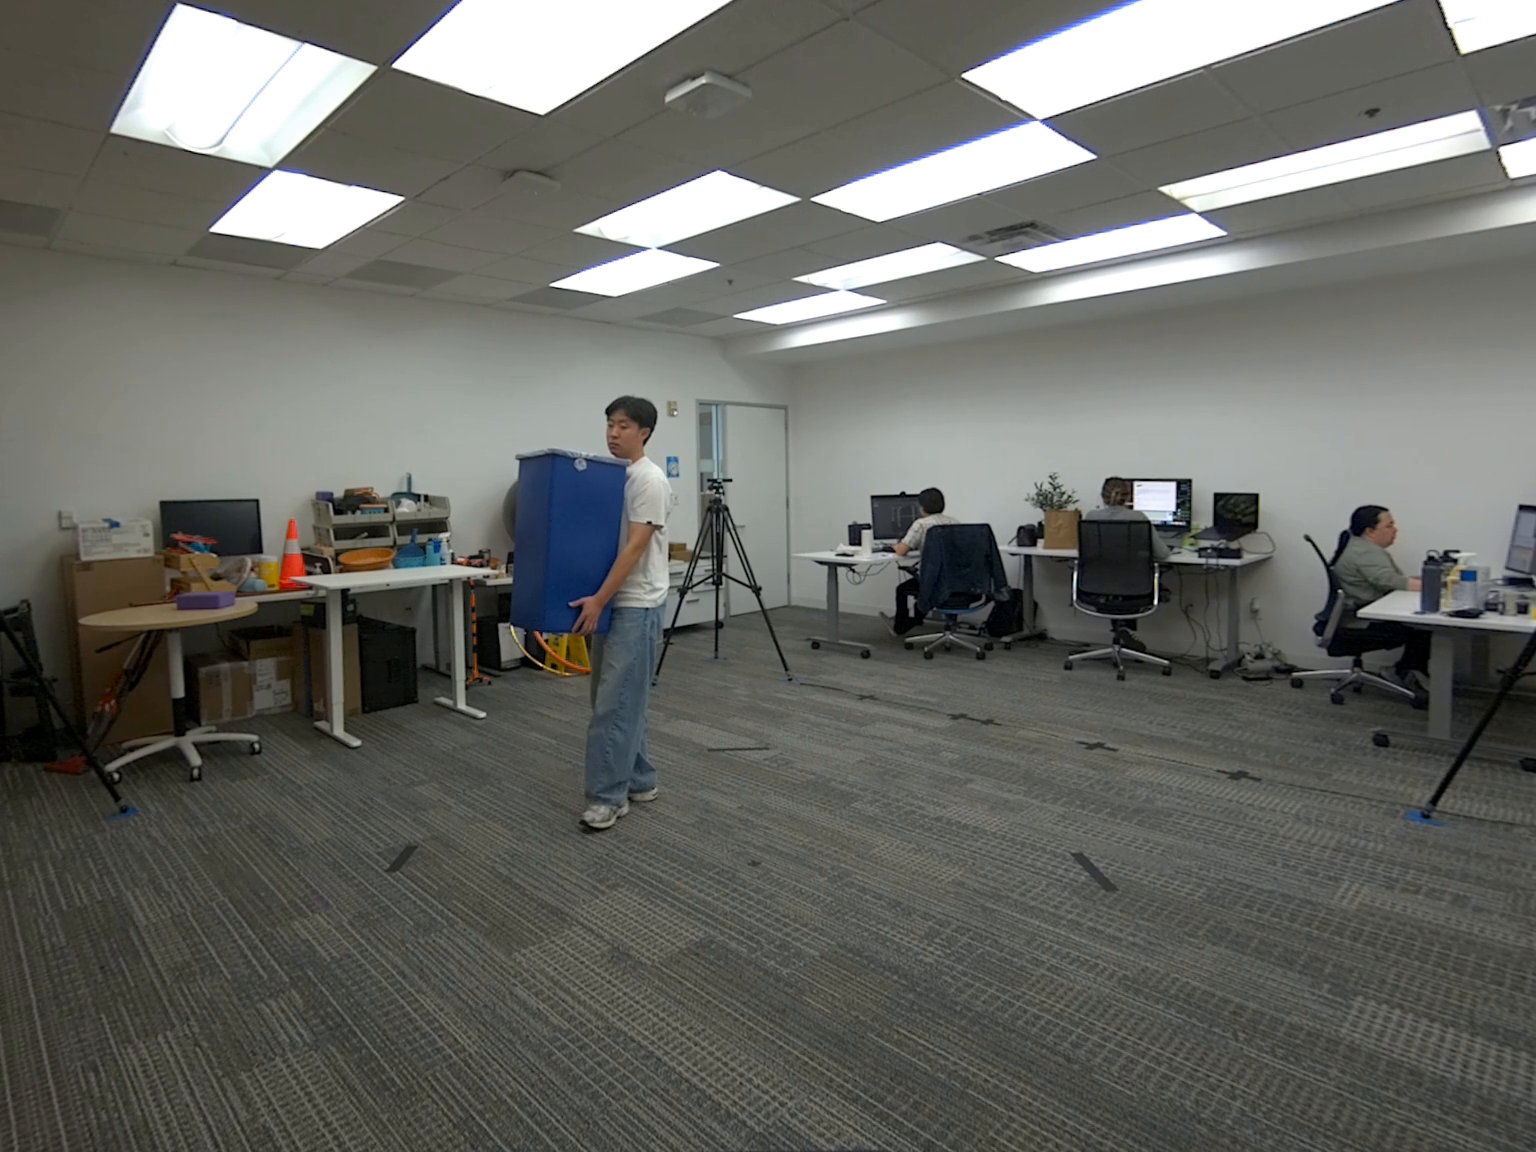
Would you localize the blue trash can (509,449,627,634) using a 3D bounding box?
[{"bbox_3d":[-0.841,-0.138,3.504,0.366,0.715,0.385,7,-4,-40],"label":"blue trash can"}]
